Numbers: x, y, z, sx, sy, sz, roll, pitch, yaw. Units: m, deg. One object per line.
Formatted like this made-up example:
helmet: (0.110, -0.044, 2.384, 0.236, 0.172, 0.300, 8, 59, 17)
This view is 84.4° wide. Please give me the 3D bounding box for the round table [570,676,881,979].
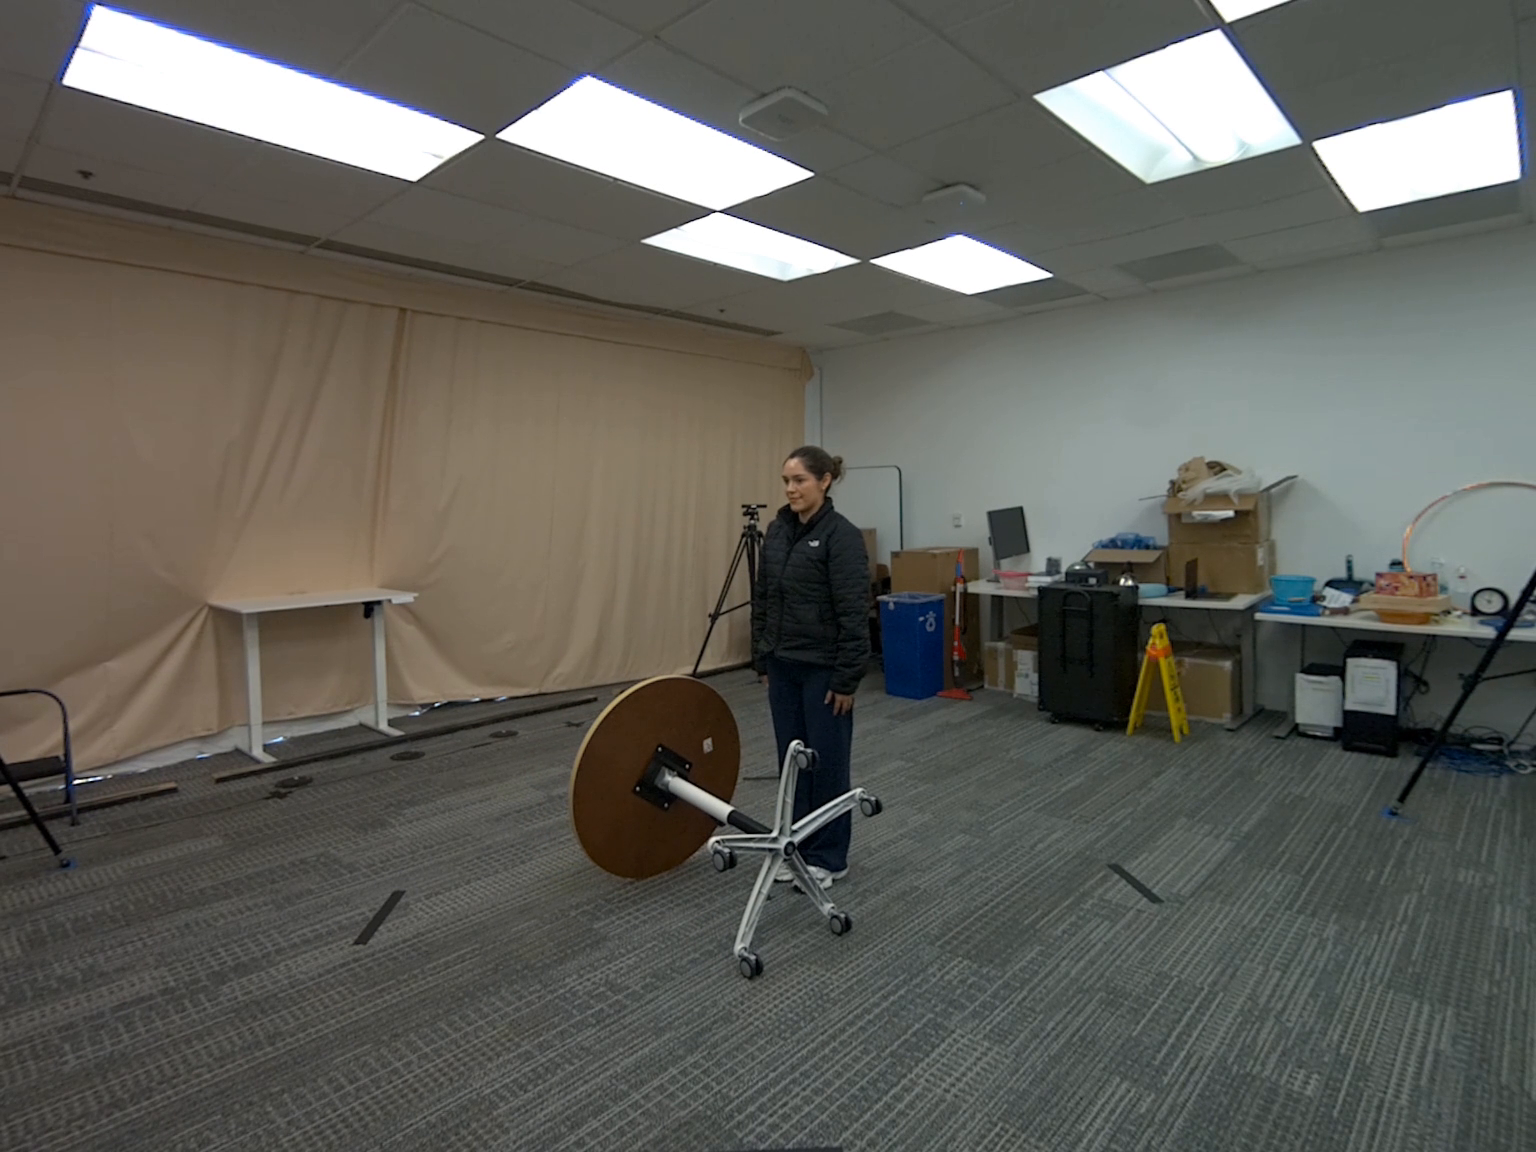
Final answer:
round table: (-0.124, 0.813, 2.873, 0.761, 0.781, 0.814, -4, 11, -41)
